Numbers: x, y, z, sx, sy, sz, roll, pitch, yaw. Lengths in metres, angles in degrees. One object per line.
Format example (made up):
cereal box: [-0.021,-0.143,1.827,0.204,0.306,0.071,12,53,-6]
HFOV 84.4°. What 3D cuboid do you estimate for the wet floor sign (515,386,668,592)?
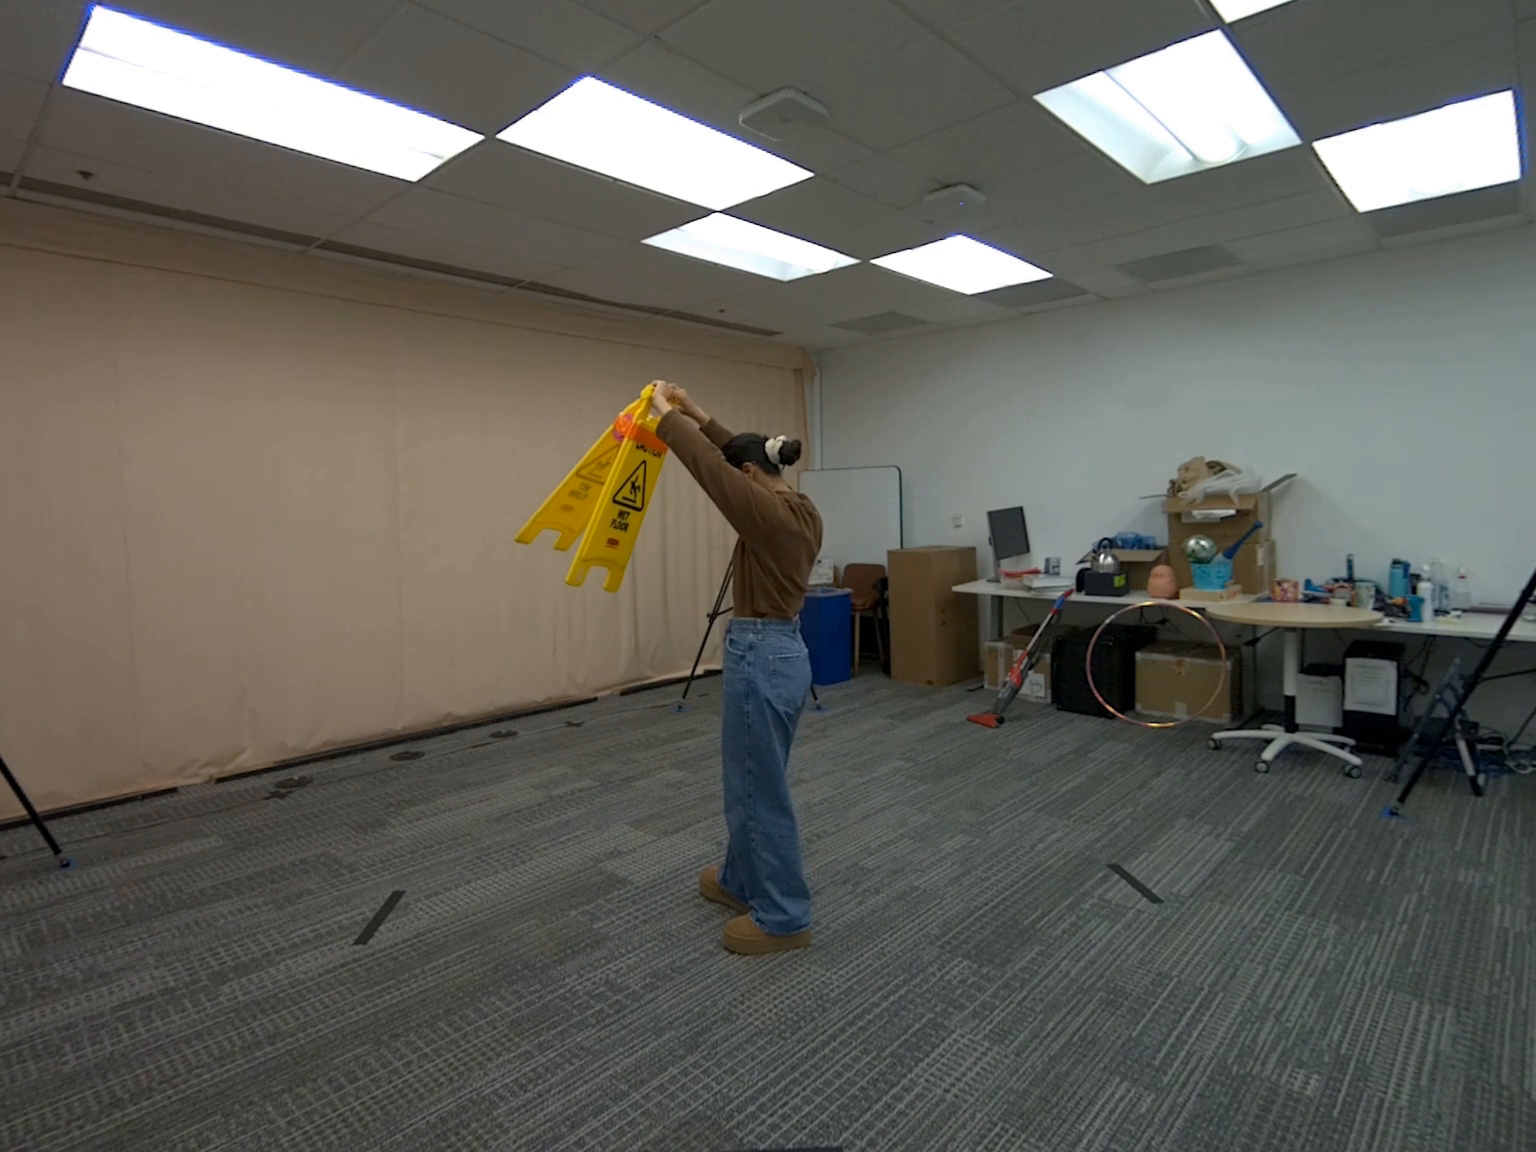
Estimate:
wet floor sign: [-0.490,-0.300,2.698,0.298,0.646,0.274,34,7,24]
